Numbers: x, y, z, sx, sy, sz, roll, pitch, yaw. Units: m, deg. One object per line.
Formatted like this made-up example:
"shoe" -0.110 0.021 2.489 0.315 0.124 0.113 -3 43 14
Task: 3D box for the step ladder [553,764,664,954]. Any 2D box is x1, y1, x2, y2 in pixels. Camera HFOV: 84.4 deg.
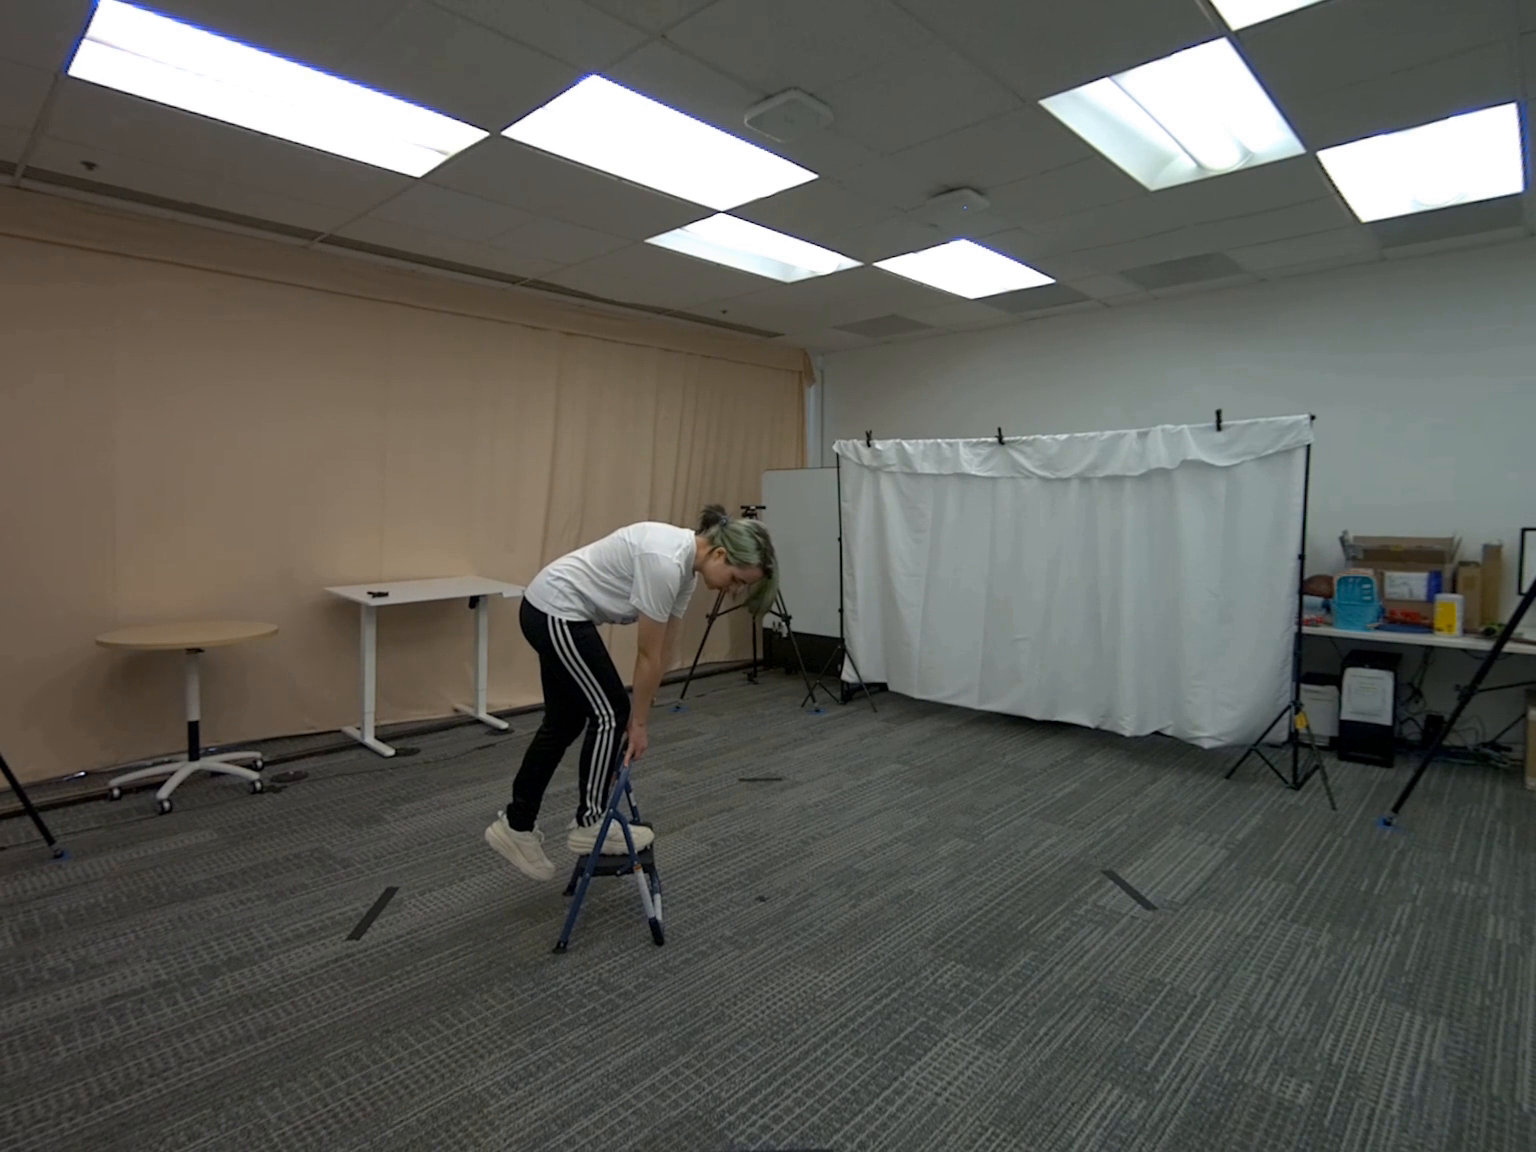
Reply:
"step ladder" -0.532 0.863 2.838 0.347 0.605 0.434 -1 3 -8
